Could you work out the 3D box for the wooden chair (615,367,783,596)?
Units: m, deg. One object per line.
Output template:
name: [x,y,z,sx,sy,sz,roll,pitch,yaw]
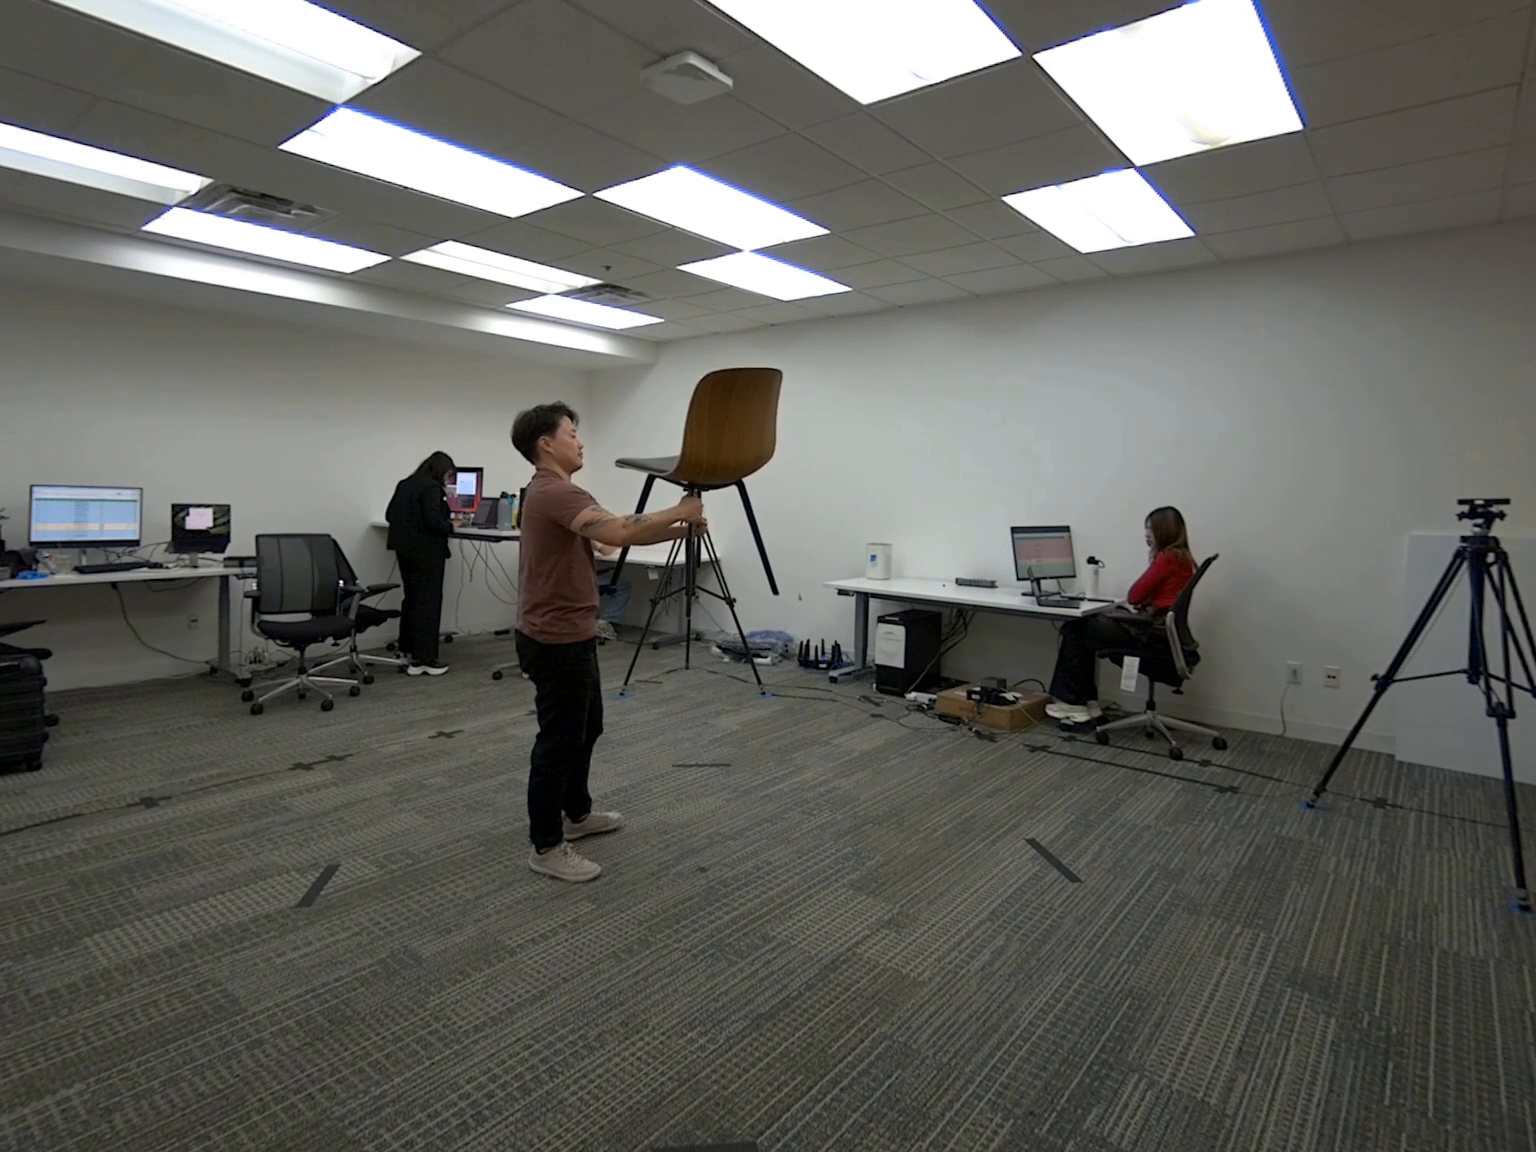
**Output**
wooden chair: [-0.270,-0.359,3.104,0.466,0.865,0.544,-11,24,-43]
